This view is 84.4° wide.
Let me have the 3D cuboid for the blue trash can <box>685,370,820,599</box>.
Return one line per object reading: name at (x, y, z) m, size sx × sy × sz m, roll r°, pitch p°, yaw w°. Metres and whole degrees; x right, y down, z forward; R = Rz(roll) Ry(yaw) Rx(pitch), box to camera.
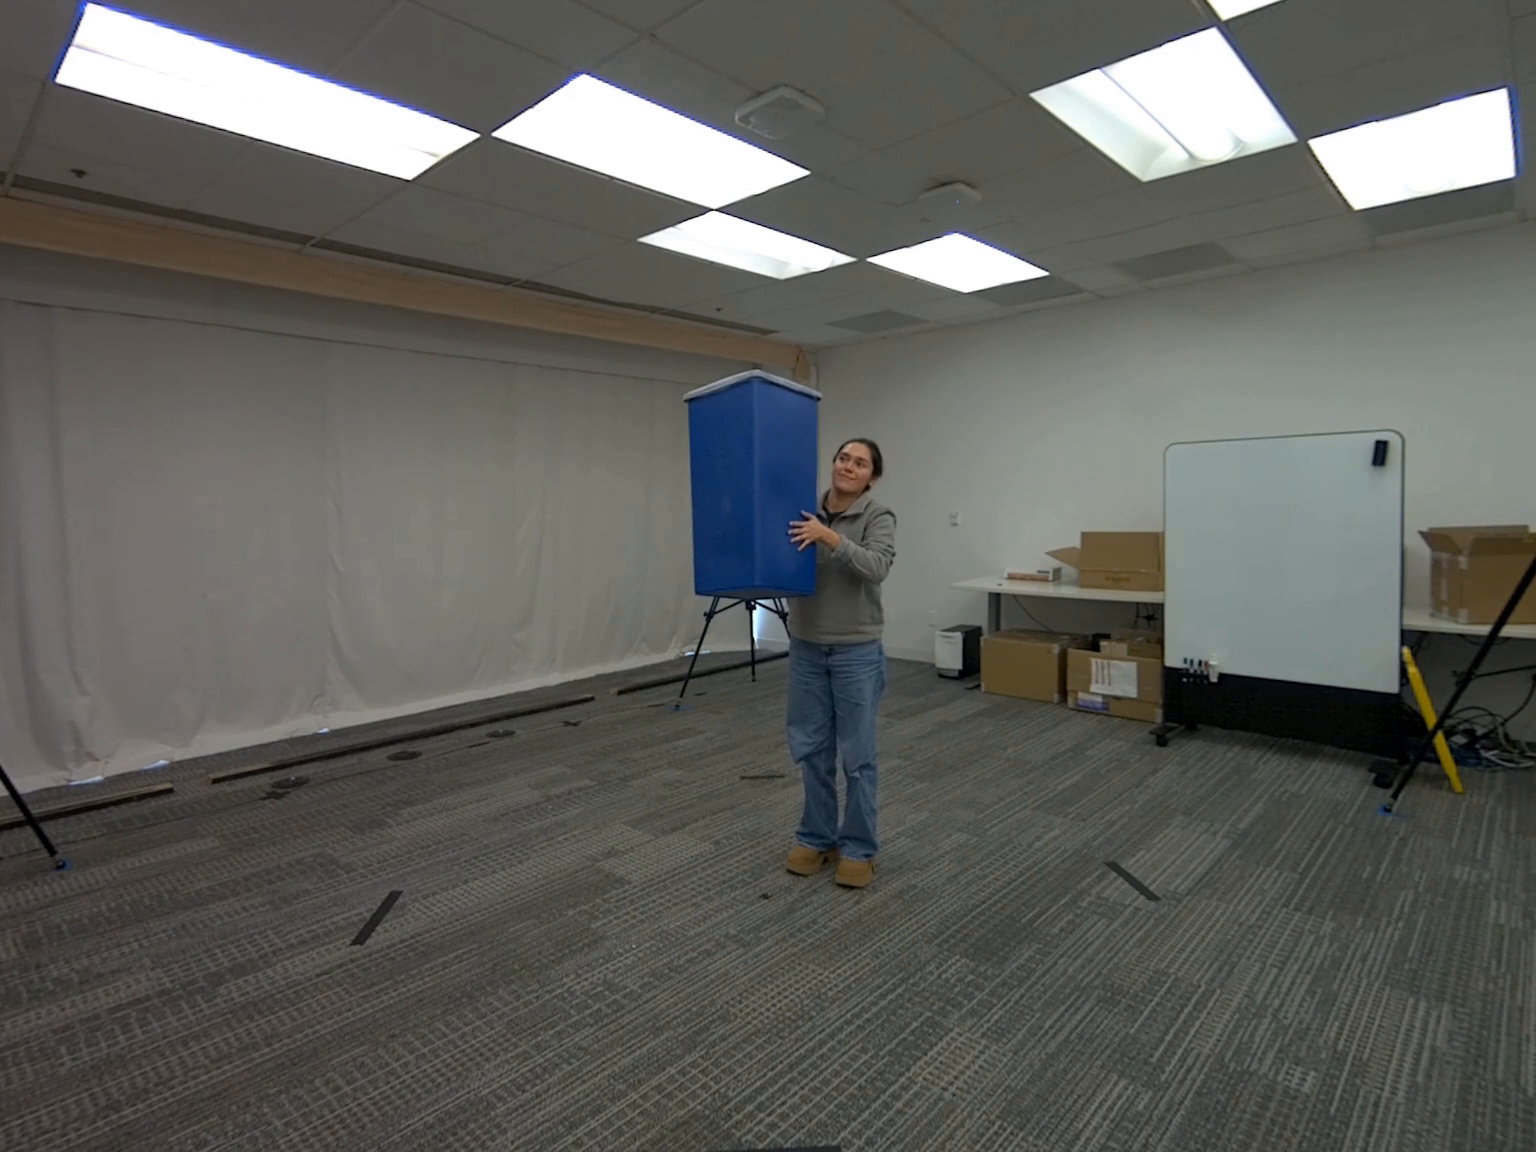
blue trash can at (-0.048, -0.284, 2.921) m, size 0.389 × 0.717 × 0.361 m, roll -9°, pitch -12°, yaw 43°
